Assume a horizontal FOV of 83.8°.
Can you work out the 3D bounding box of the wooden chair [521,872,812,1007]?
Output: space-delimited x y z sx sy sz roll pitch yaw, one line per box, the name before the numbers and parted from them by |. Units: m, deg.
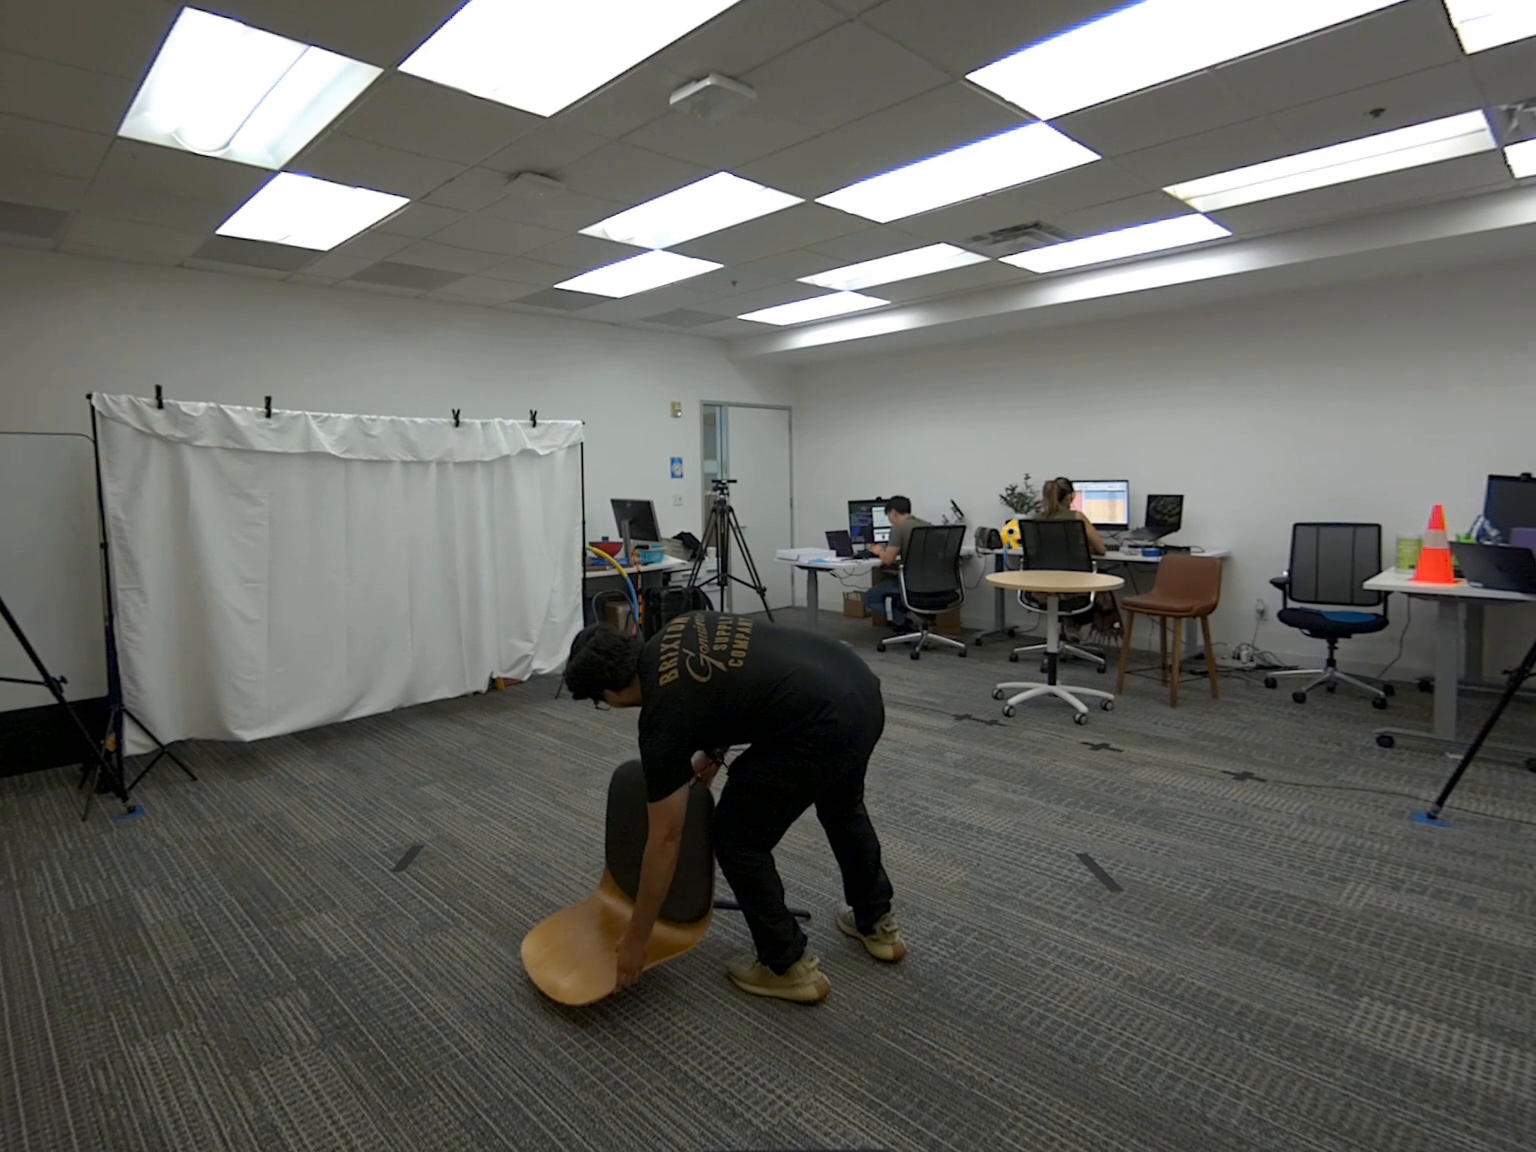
wooden chair | -0.301 0.834 2.571 0.492 0.521 0.854 3 6 42
